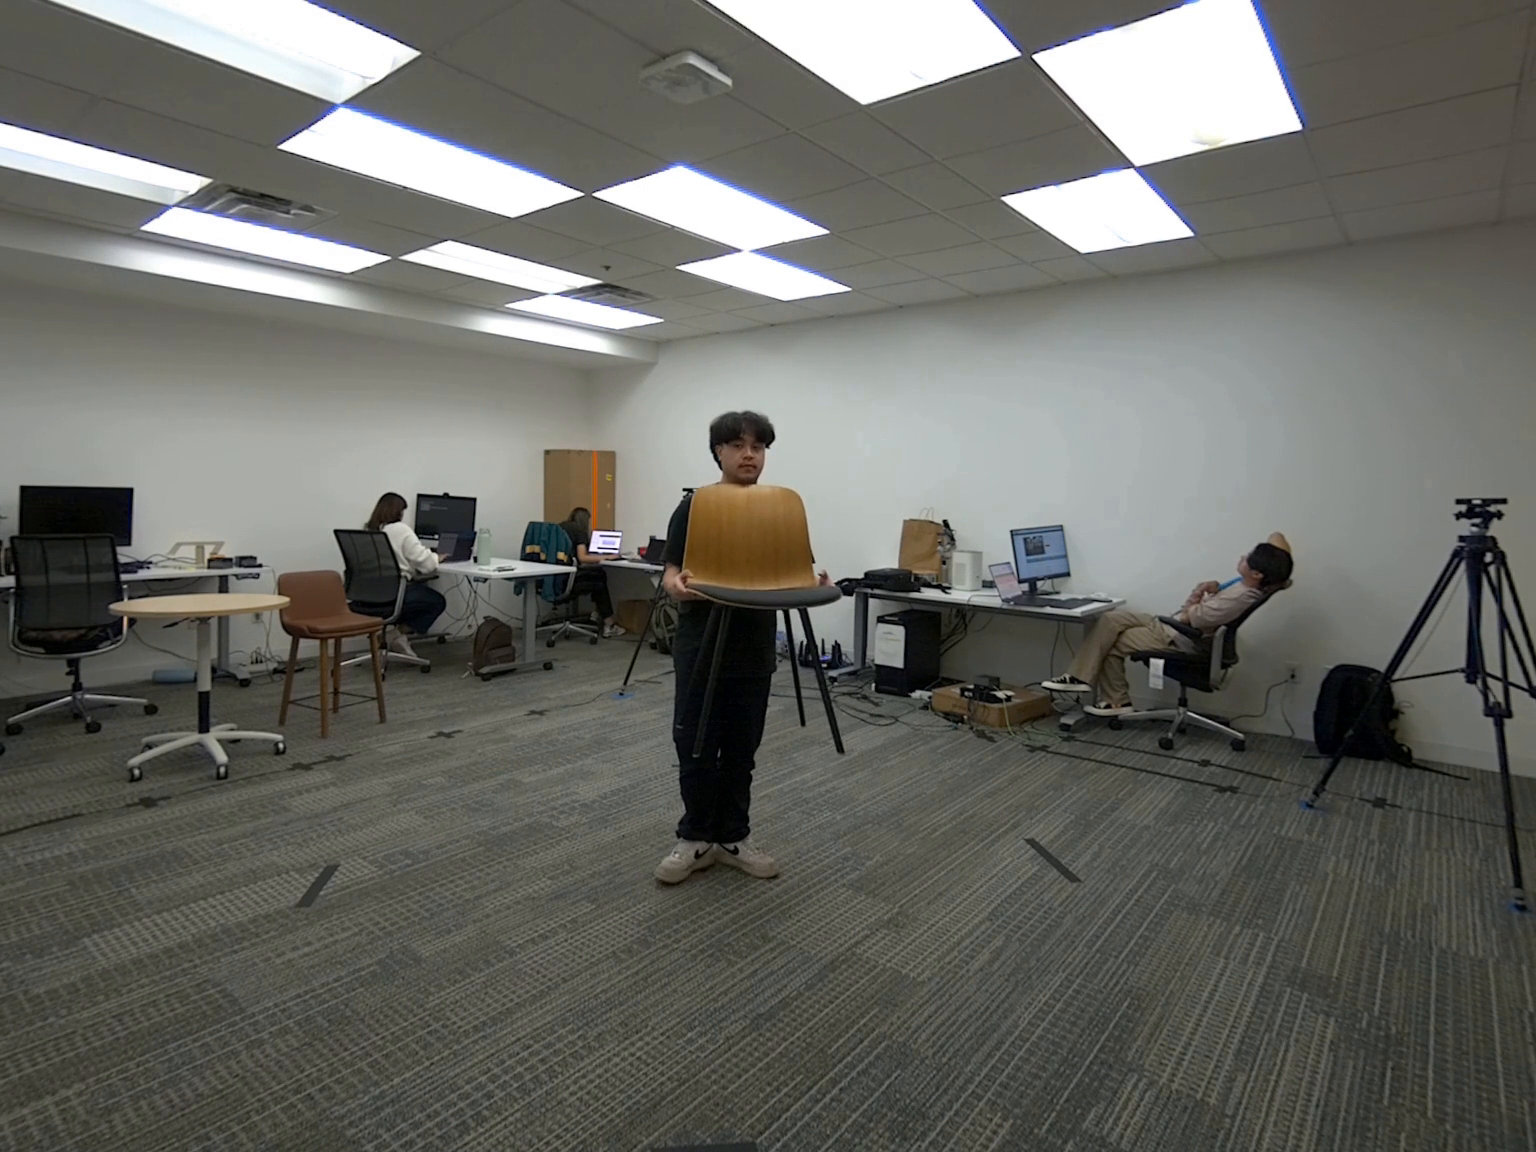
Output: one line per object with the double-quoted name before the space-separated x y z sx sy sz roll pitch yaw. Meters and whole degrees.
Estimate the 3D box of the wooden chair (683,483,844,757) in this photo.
"wooden chair" -0.025 0.098 2.733 0.472 0.883 0.526 2 -6 -12
